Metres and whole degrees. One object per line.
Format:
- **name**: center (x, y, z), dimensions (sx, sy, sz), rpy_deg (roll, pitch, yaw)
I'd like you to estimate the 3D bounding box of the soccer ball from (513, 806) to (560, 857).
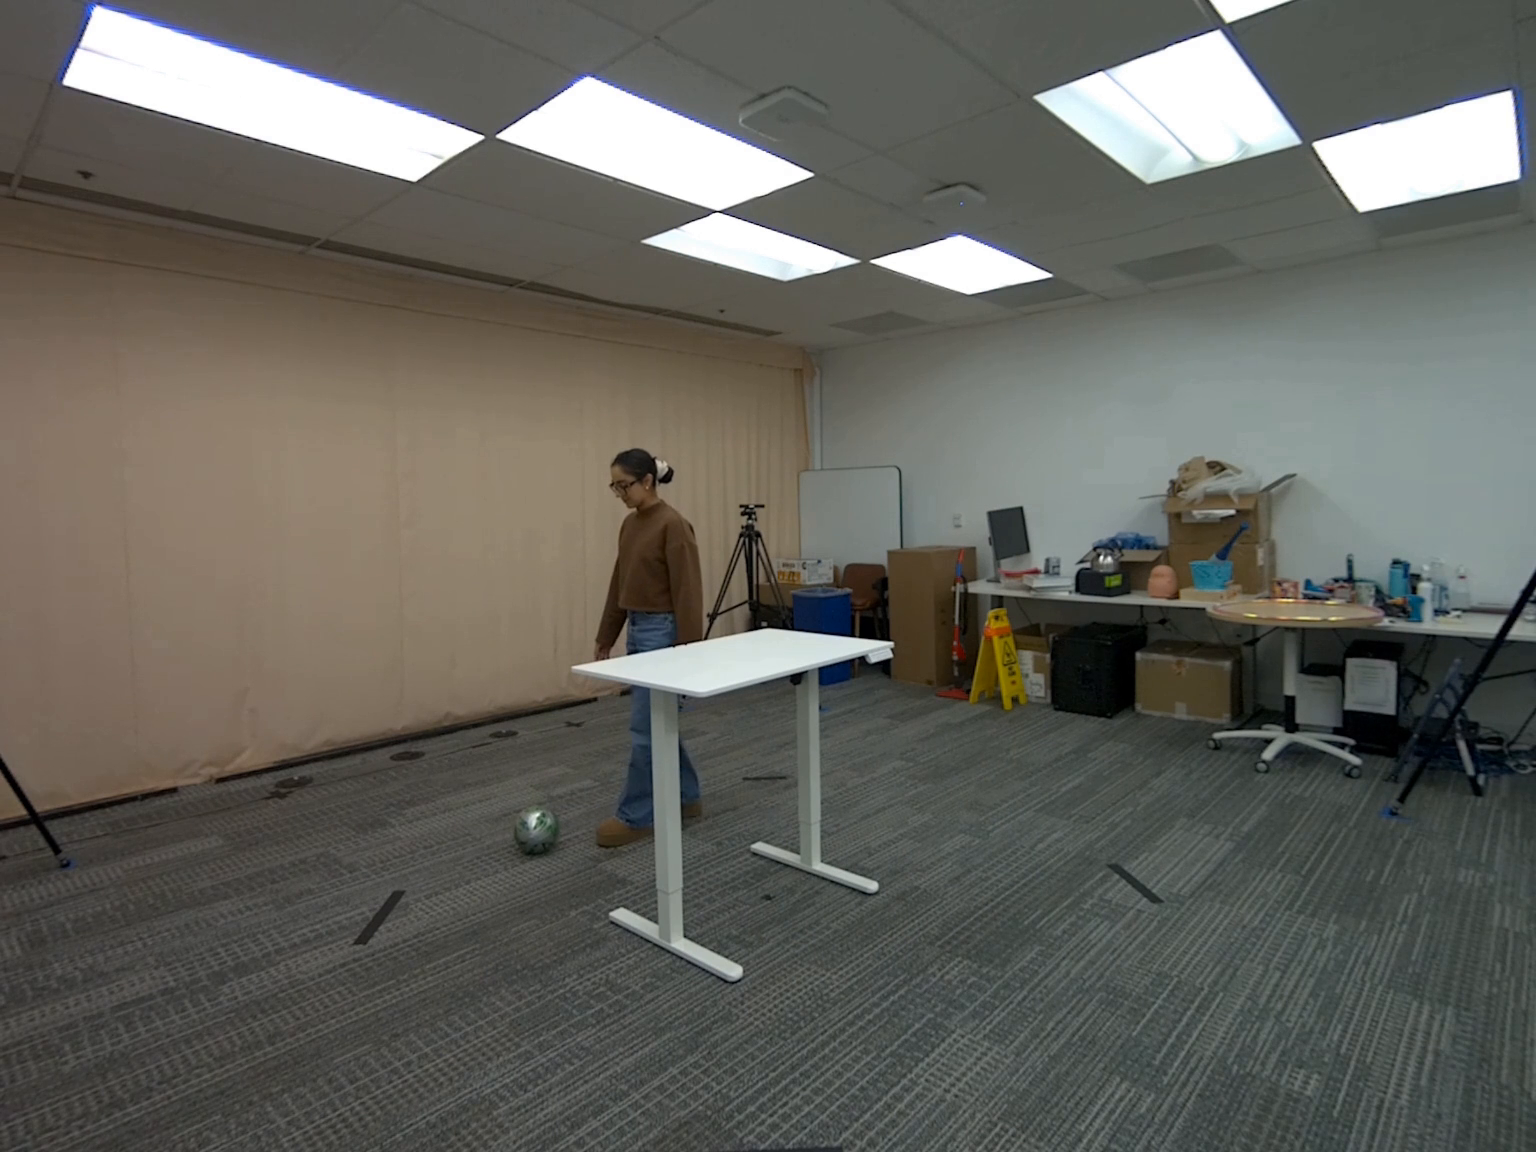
- **soccer ball**: center (-0.944, 1.032, 3.428), dimensions (0.187, 0.187, 0.188), rpy_deg (-1, 4, -2)
